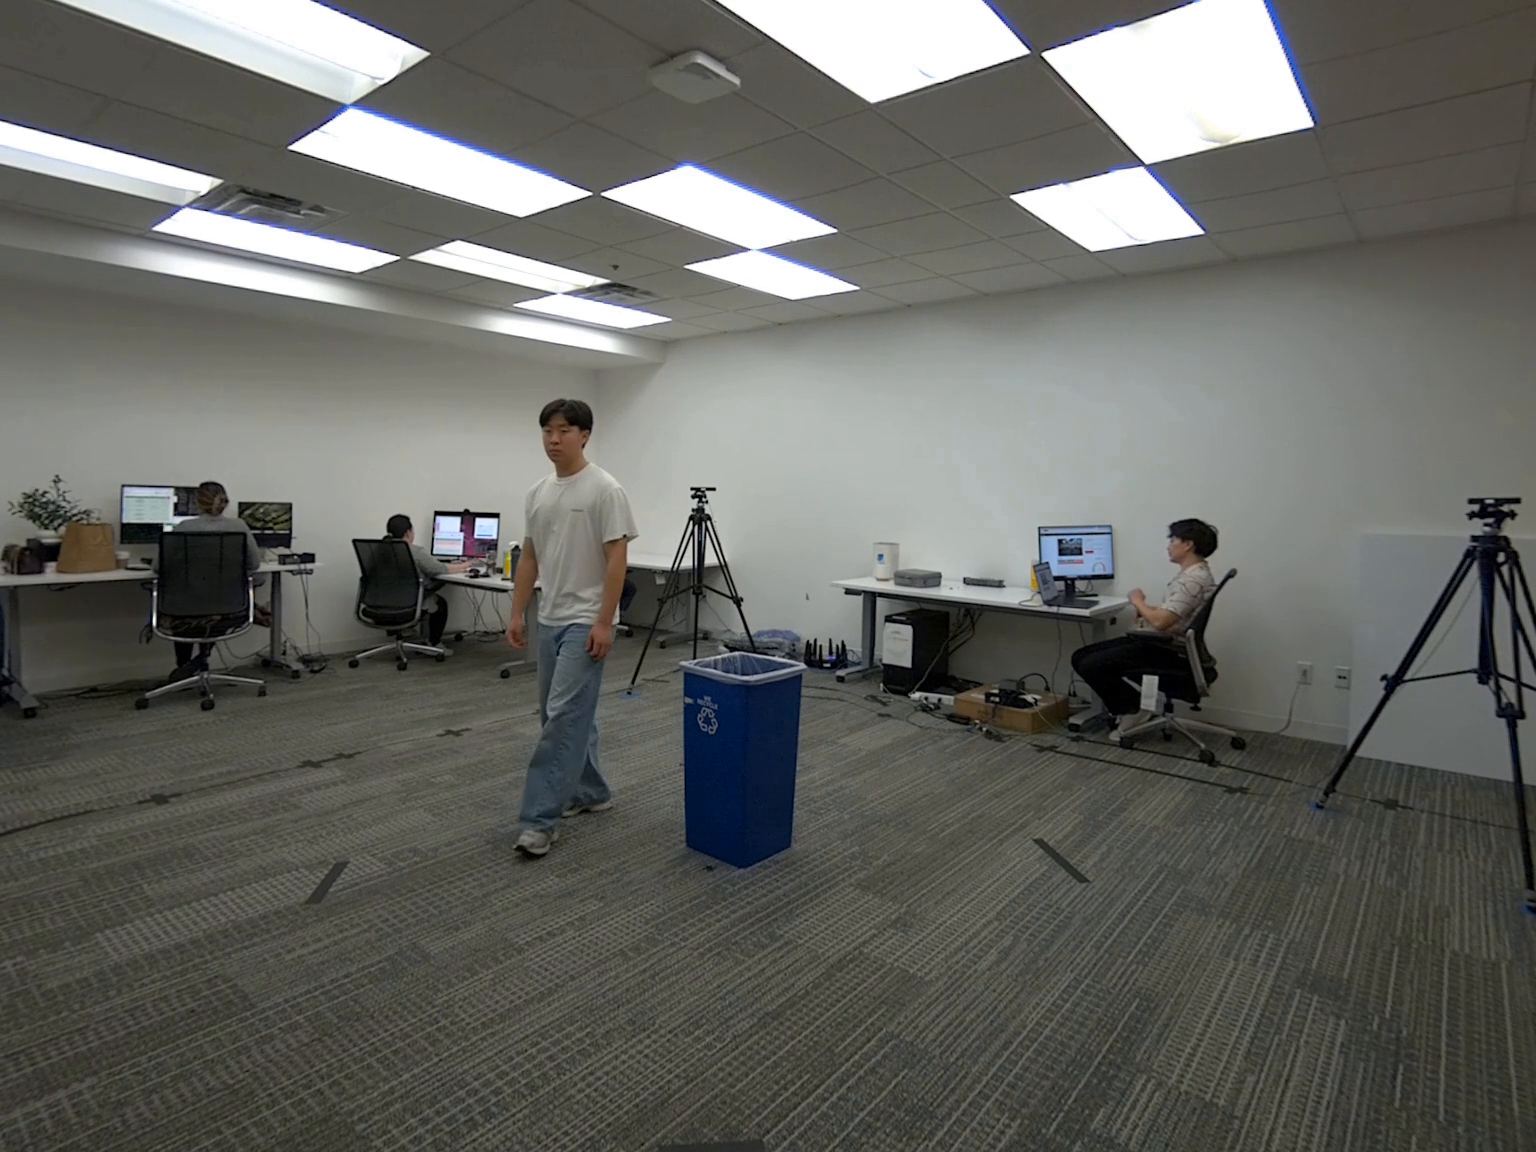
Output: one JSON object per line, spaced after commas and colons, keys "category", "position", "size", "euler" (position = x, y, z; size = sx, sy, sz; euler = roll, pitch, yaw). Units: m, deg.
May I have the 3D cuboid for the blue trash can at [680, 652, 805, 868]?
{"category": "blue trash can", "position": [-0.107, 0.691, 3.292], "size": [0.386, 0.712, 0.367], "euler": [3, 4, 40]}
